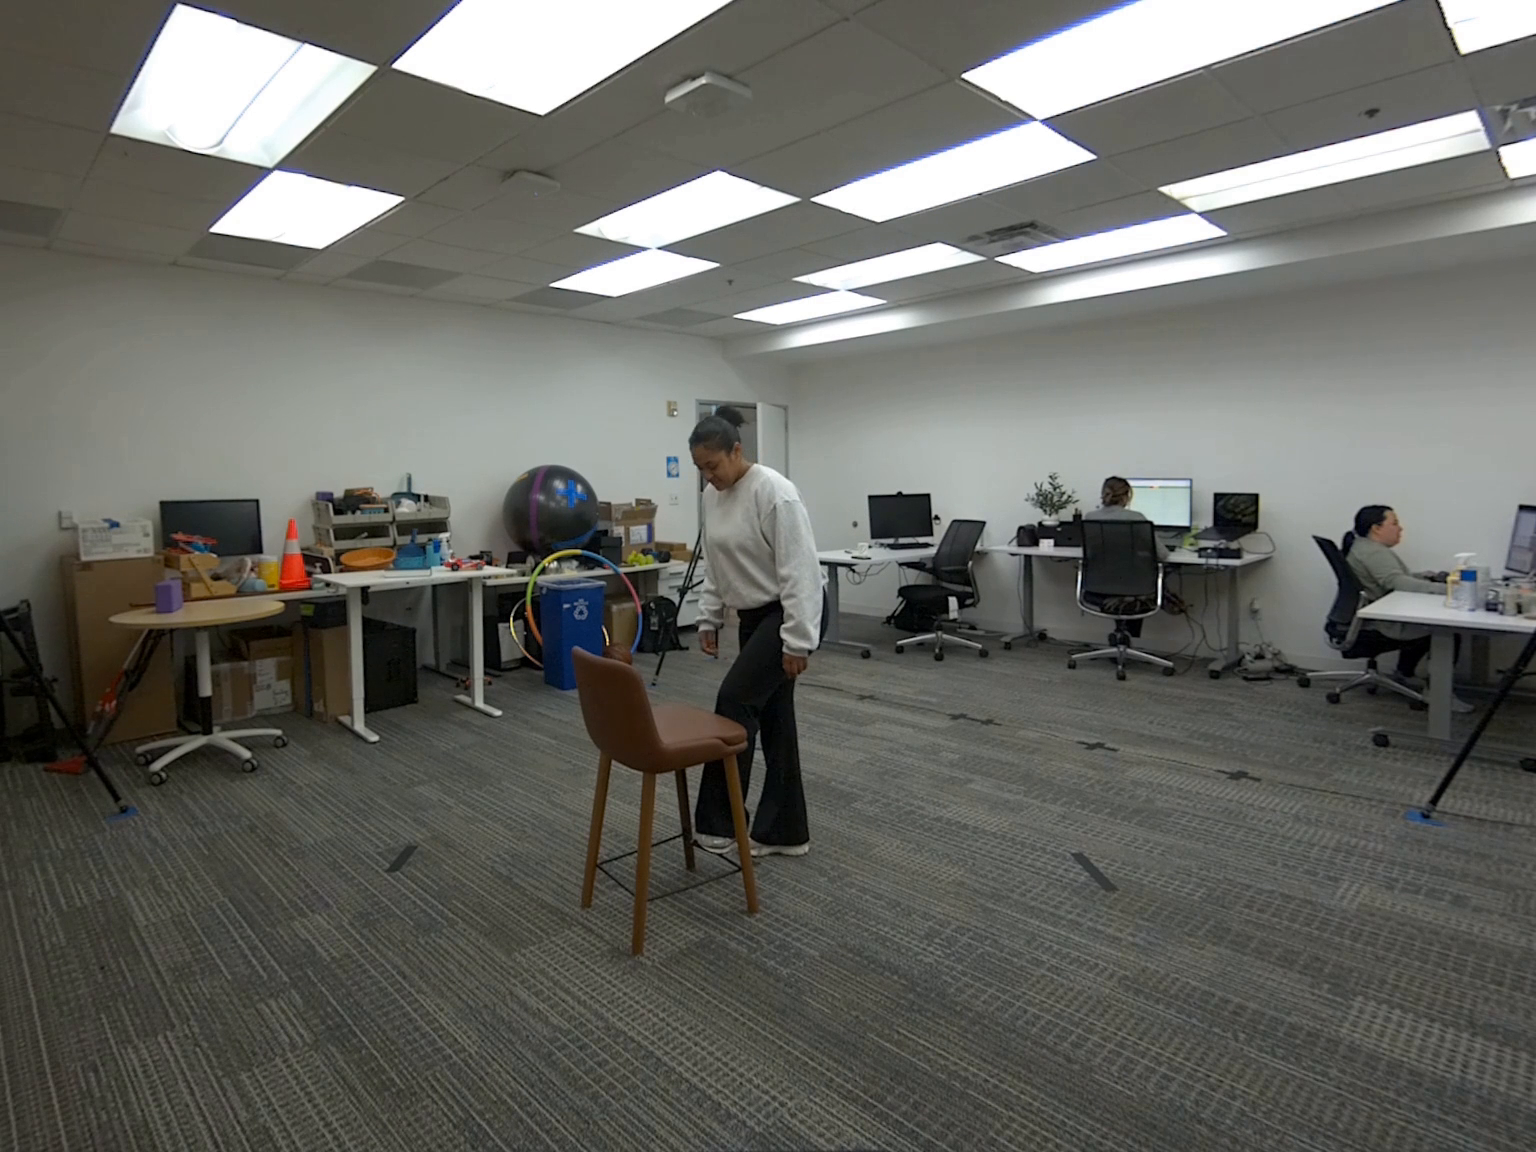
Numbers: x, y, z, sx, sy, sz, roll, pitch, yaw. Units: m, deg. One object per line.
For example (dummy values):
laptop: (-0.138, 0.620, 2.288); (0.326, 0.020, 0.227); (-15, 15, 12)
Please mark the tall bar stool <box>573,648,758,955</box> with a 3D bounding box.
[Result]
tall bar stool: (-0.340, 0.655, 2.761); (0.456, 0.885, 0.470); (-6, 7, -36)
